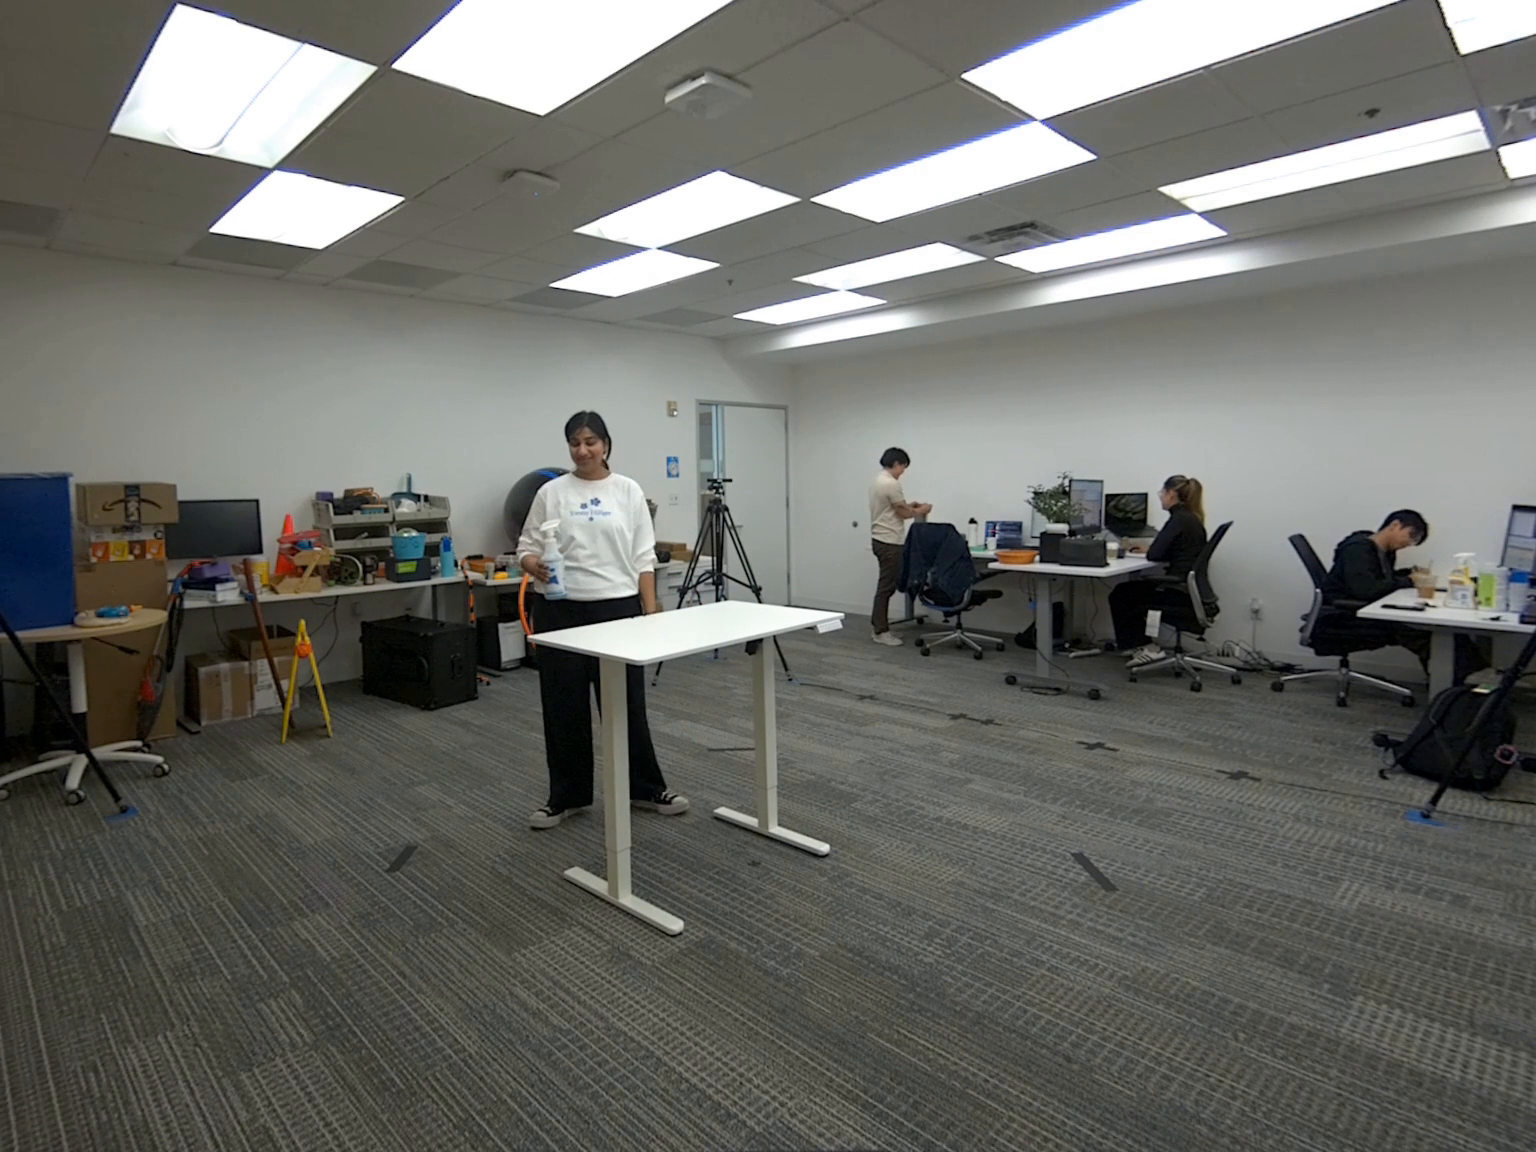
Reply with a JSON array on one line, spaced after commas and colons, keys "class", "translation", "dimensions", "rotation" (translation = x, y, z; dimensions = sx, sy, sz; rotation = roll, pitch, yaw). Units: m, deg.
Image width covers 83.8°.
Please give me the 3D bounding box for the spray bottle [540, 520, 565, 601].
[{"class": "spray bottle", "translation": [-0.831, -0.060, 3.263], "dimensions": [0.088, 0.295, 0.089], "rotation": [-5, 8, -23]}]
